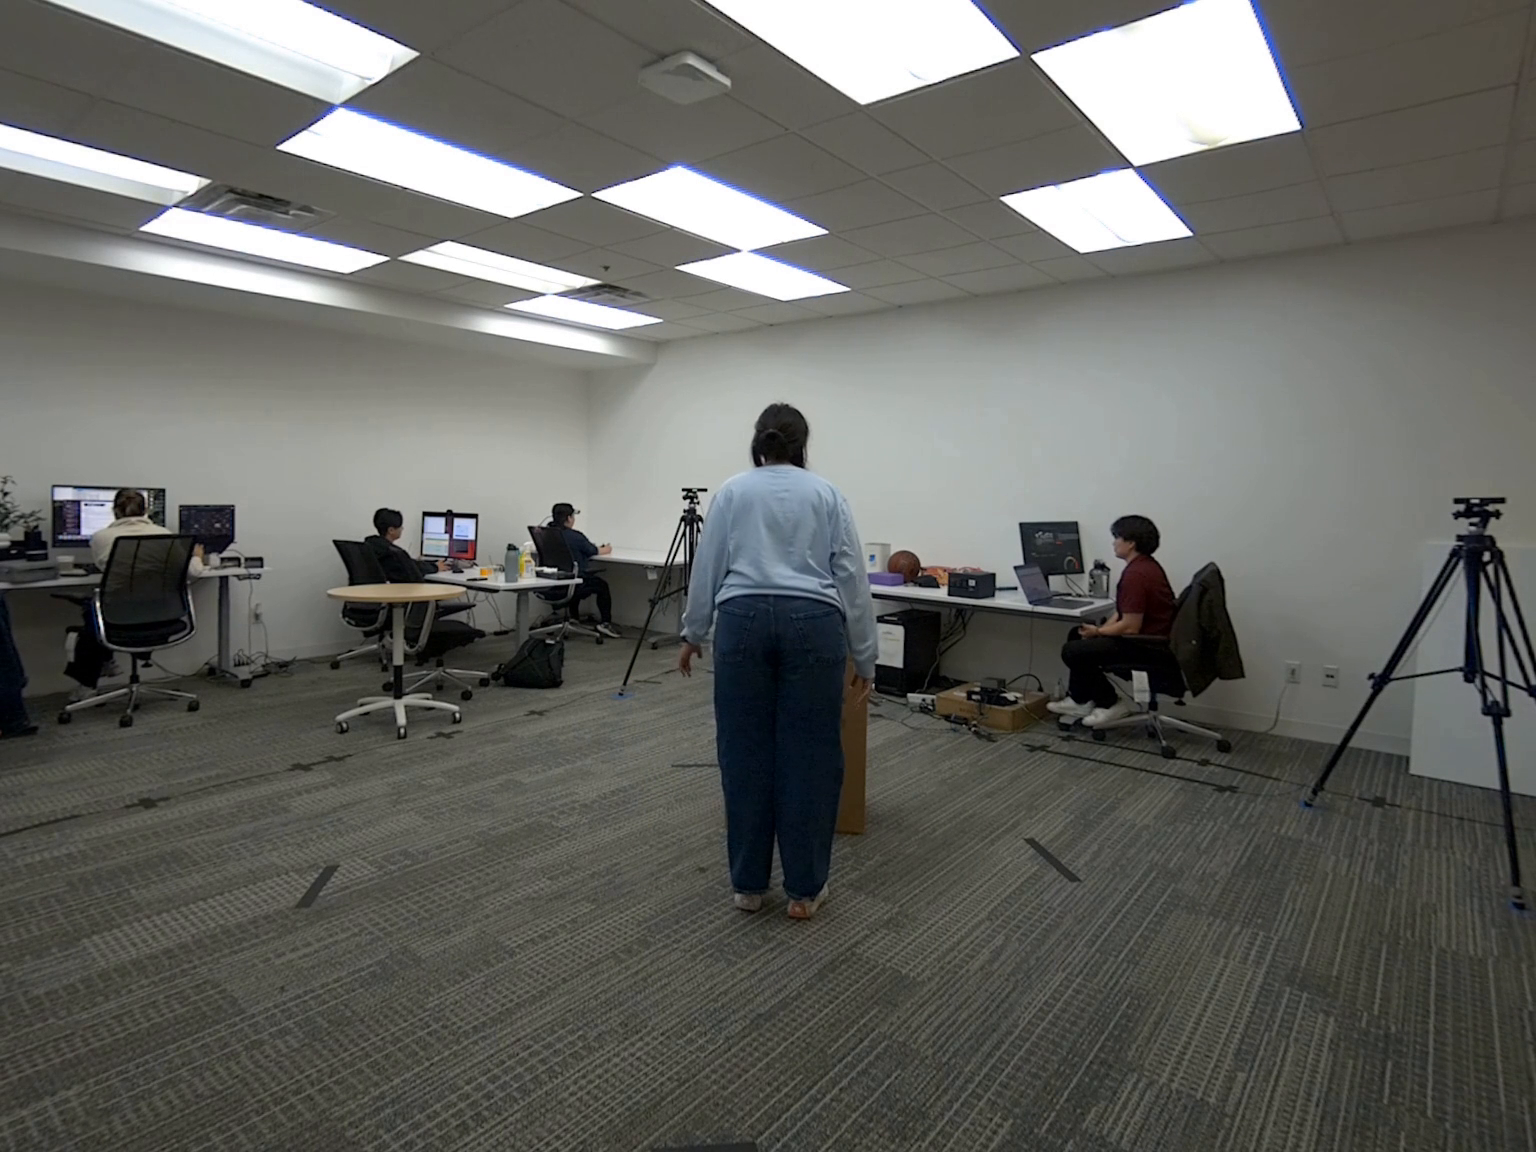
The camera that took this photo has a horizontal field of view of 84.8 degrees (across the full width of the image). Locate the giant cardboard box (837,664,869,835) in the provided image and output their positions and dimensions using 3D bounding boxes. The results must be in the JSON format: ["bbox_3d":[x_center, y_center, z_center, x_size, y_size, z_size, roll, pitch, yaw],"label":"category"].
[{"bbox_3d":[0.110,0.509,3.658,0.579,1.023,0.426,1,3,2],"label":"giant cardboard box"}]
